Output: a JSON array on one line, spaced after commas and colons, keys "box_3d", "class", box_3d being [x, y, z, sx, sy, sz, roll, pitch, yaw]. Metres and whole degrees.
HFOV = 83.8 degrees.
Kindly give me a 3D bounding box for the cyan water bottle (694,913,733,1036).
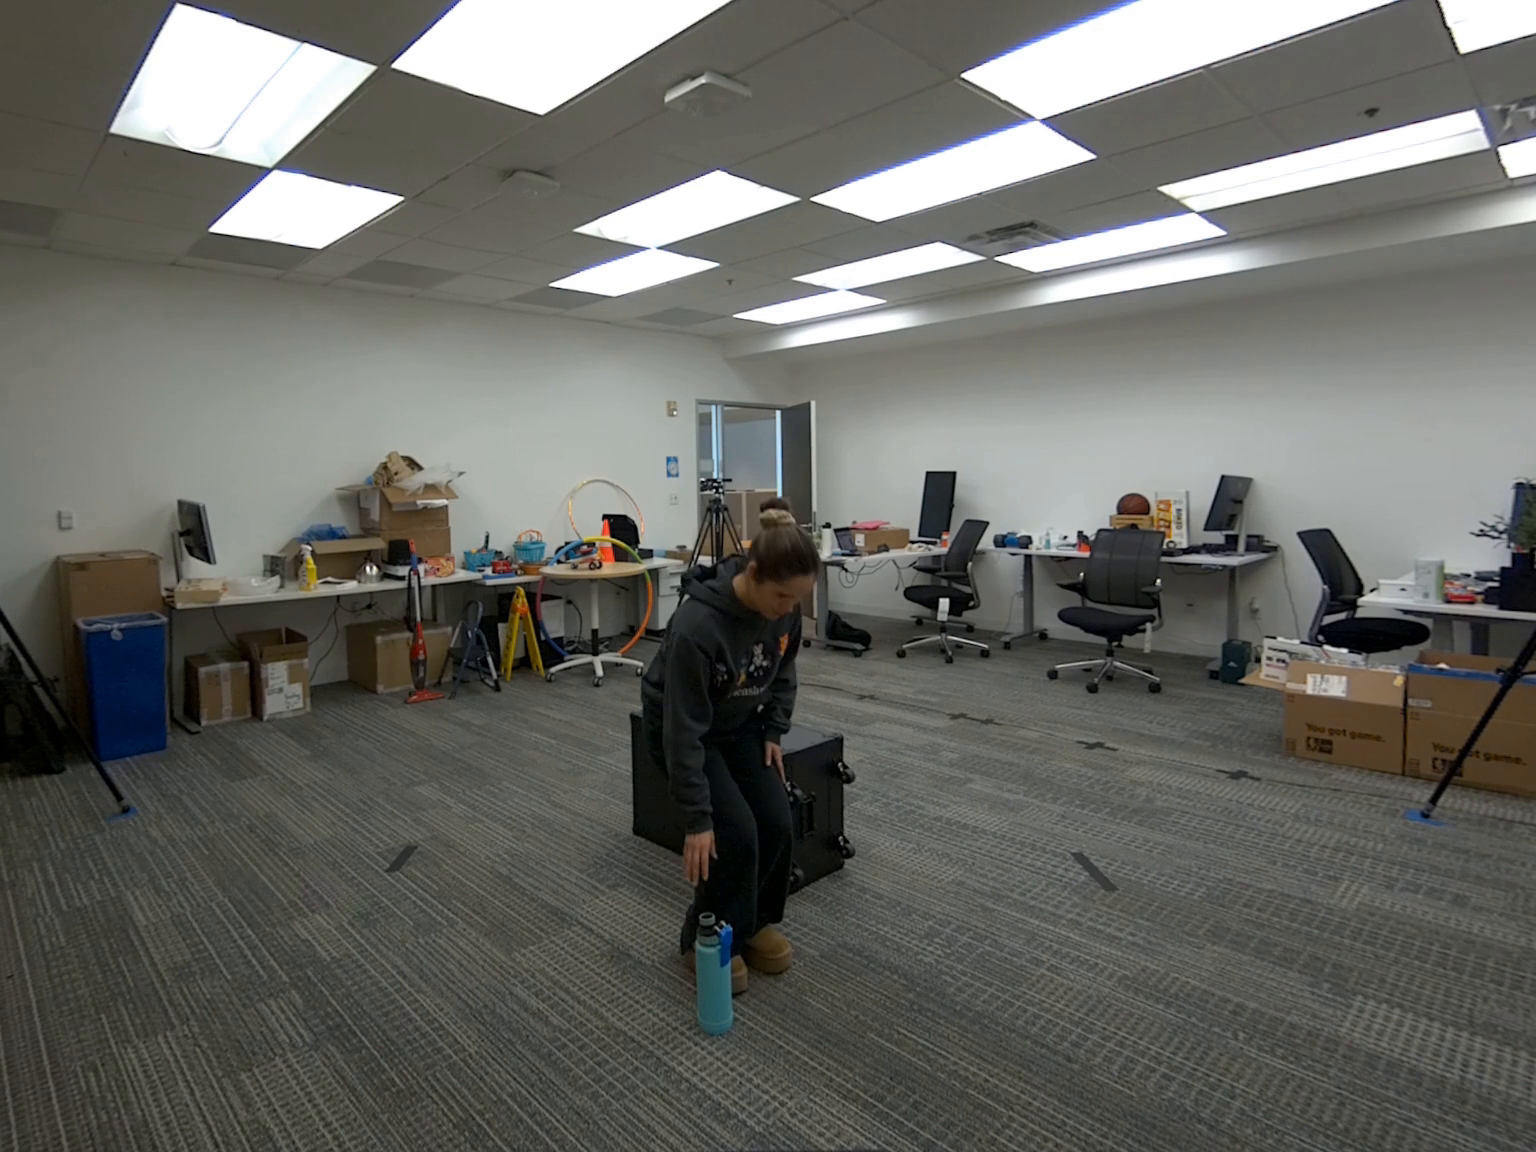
[{"box_3d": [-0.136, 1.018, 2.173, 0.092, 0.282, 0.093, -2, 5, -1], "class": "cyan water bottle"}]
